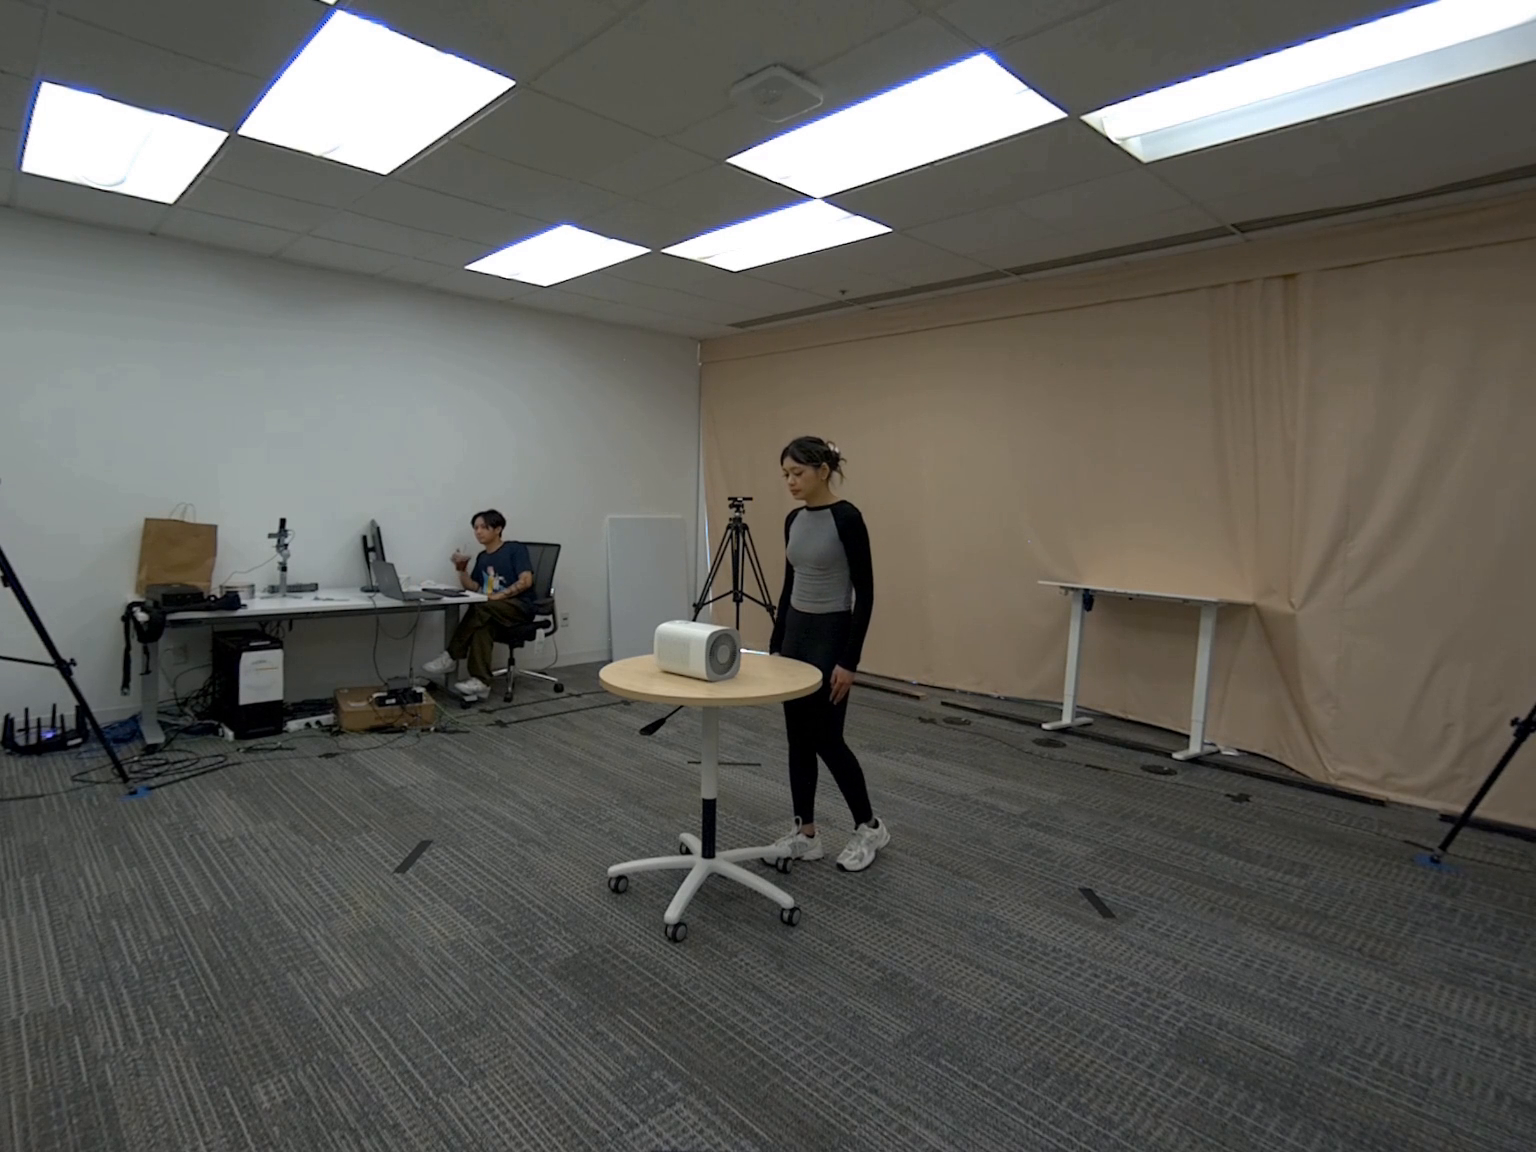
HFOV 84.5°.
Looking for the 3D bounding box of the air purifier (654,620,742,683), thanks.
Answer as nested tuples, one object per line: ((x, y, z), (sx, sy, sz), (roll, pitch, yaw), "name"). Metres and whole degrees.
((-0.251, 0.248, 2.852), (0.272, 0.171, 0.167), (5, 7, 41), "air purifier")
